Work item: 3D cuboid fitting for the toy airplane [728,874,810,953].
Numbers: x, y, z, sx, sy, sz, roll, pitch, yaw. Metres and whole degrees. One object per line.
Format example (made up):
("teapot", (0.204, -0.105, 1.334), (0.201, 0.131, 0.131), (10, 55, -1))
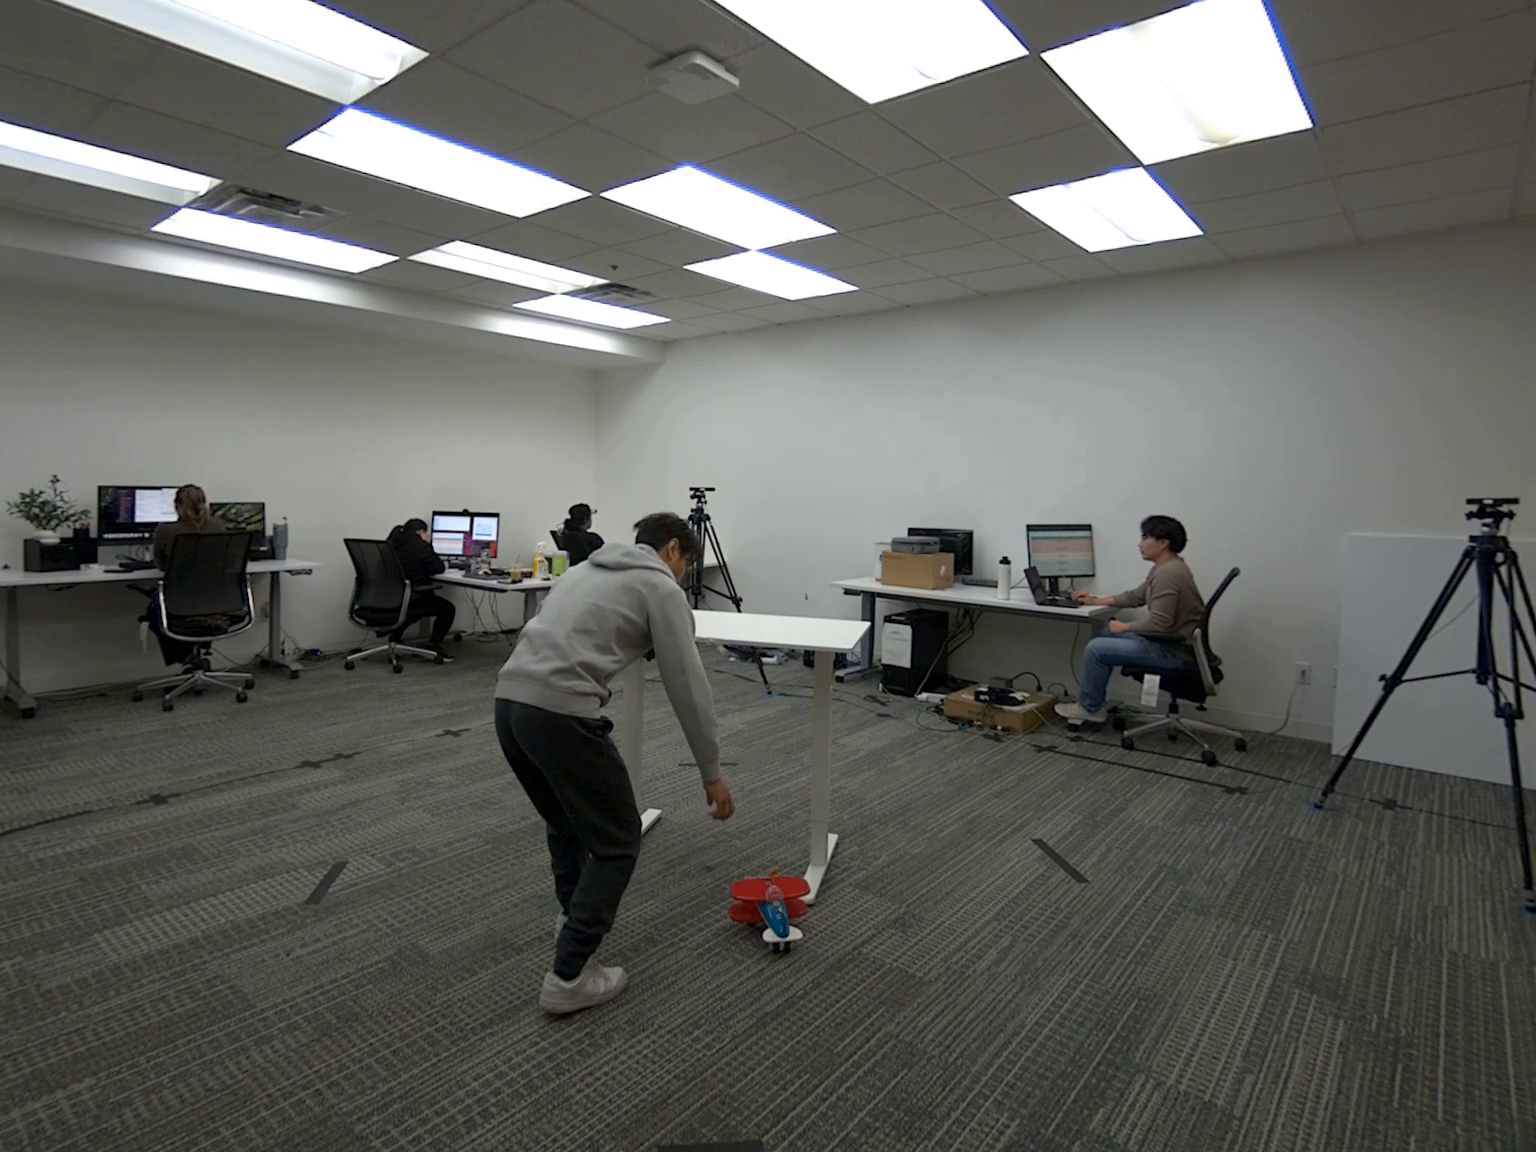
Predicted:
("toy airplane", (0.022, 1.039, 2.649), (0.243, 0.156, 0.268), (-4, 7, -43))
